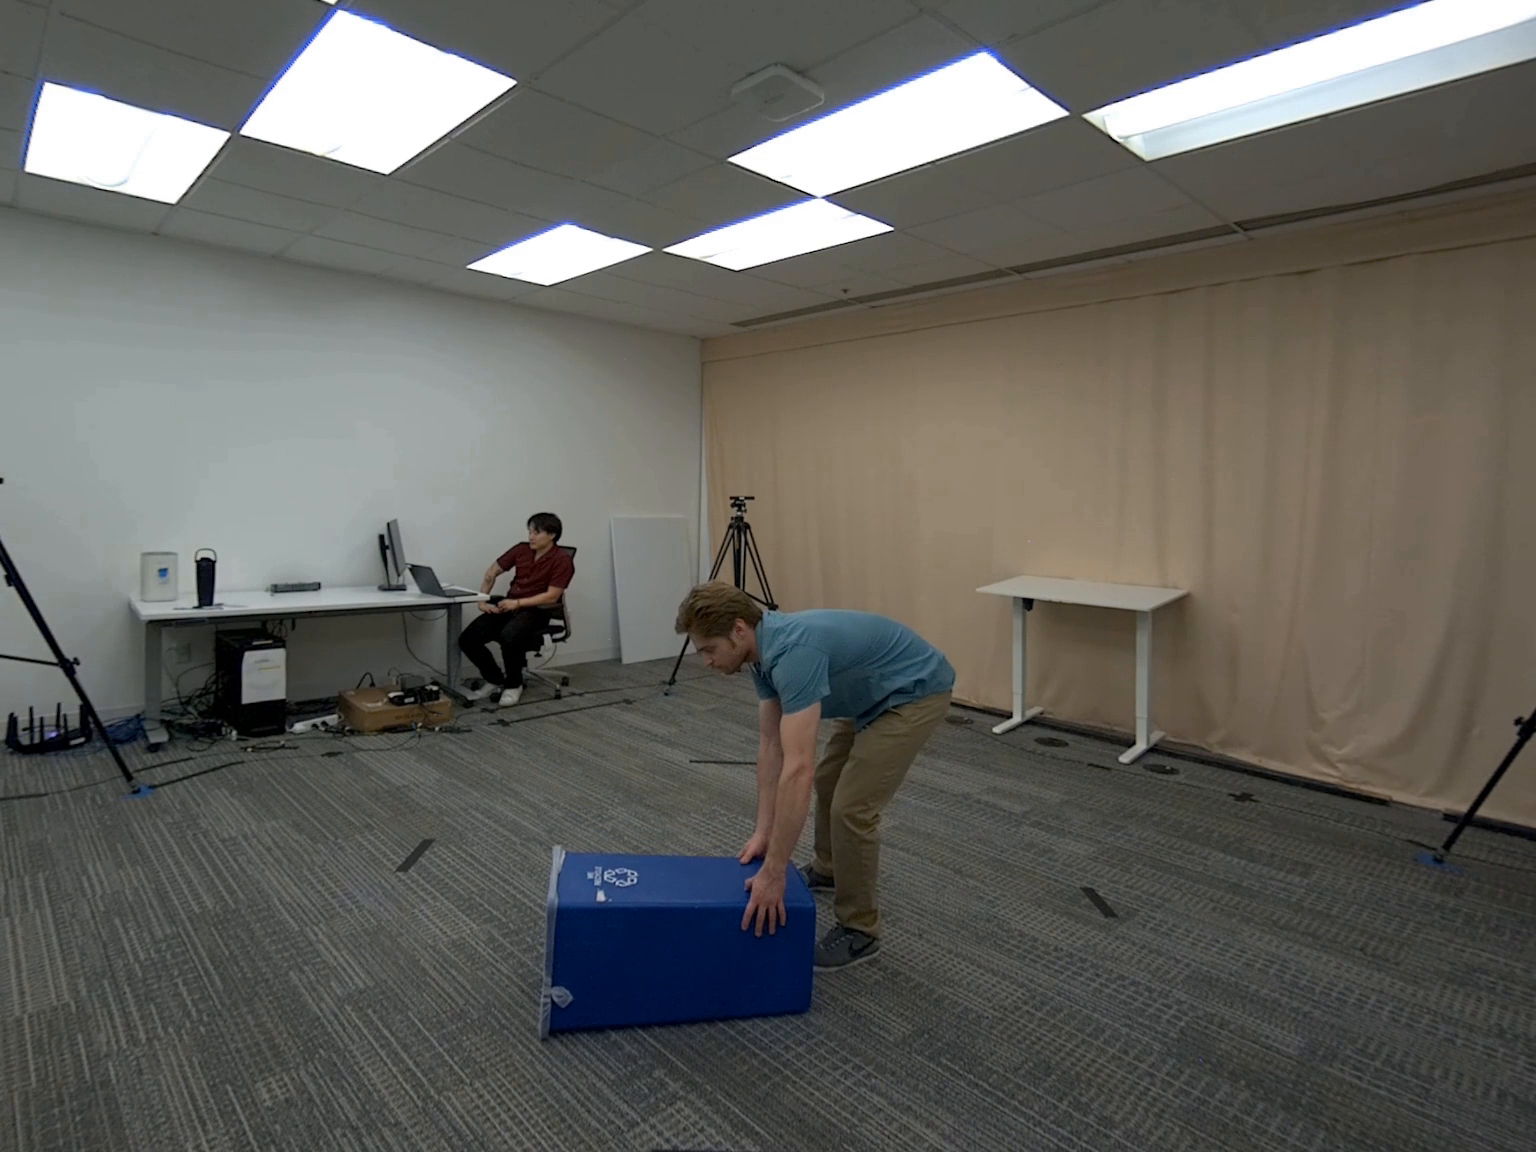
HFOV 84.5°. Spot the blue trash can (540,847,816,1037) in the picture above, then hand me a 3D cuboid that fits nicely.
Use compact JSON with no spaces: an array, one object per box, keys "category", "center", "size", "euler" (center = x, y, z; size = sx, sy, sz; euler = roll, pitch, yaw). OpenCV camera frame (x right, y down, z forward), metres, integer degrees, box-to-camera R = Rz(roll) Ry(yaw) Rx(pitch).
[{"category":"blue trash can","center":[-0.266,1.006,2.351],"size":[0.708,0.377,0.378],"euler":[3,3,-10]}]
